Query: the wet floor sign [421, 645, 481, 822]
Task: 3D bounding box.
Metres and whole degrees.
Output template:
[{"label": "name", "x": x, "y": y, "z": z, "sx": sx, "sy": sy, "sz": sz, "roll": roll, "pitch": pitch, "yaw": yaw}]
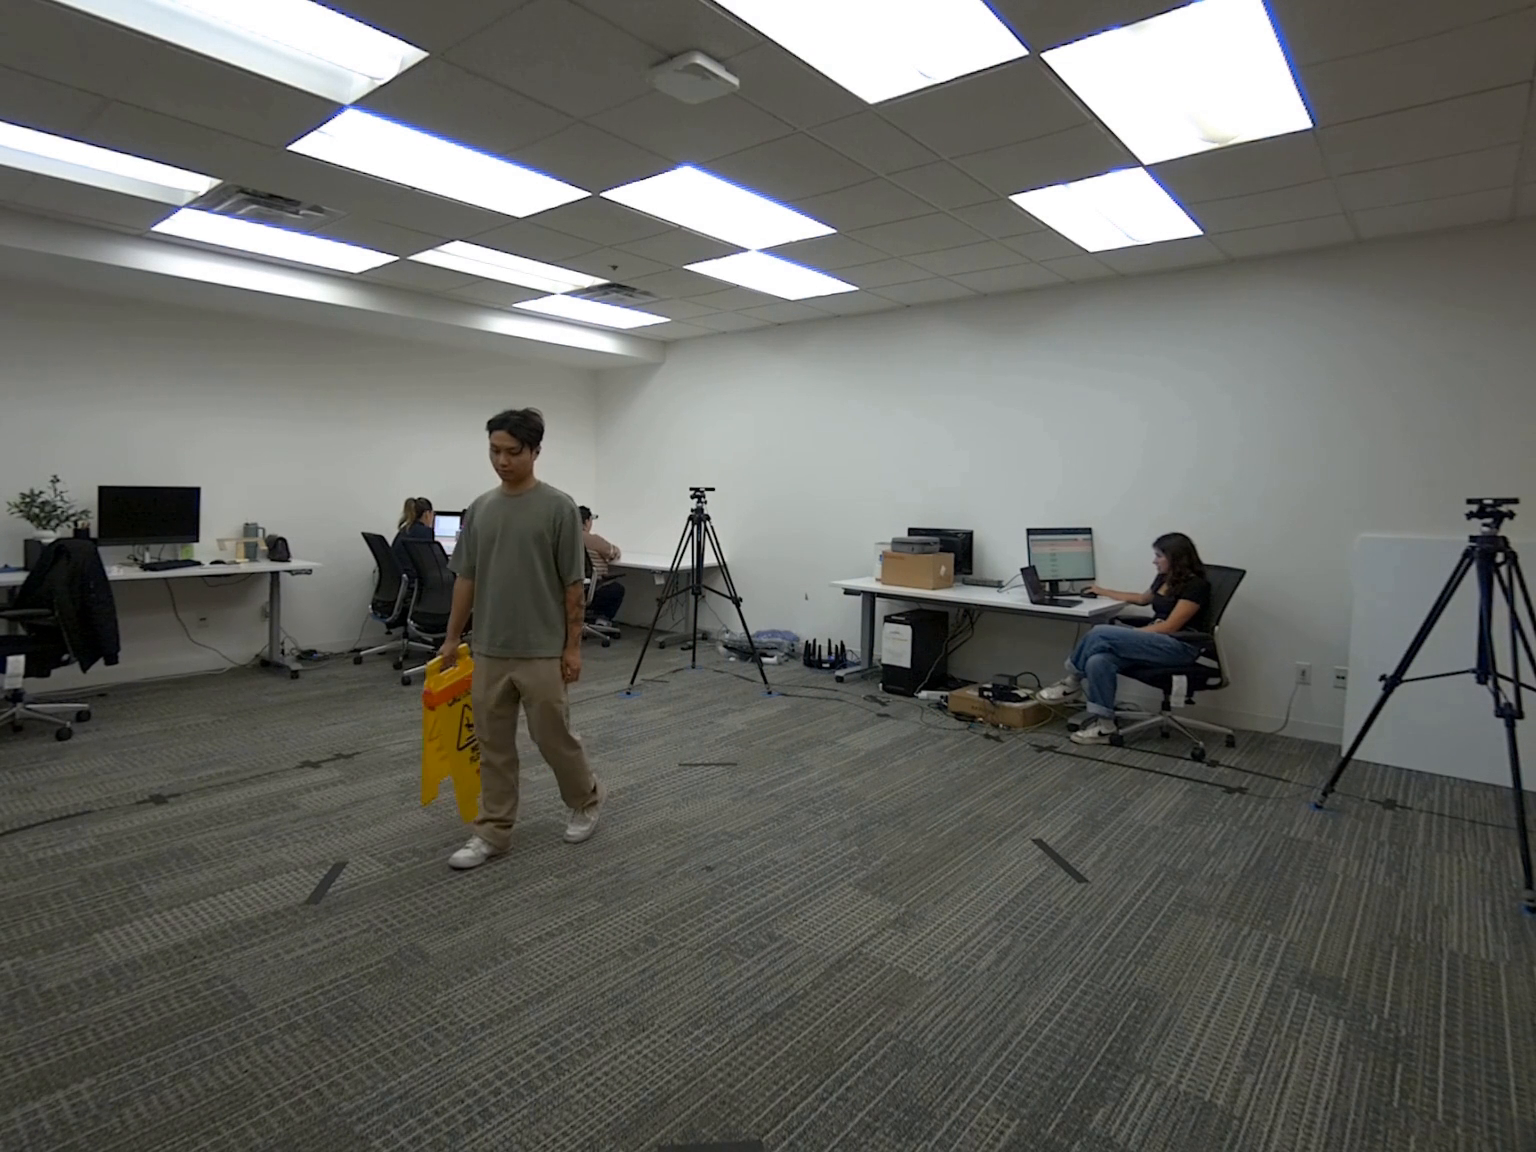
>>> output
[{"label": "wet floor sign", "x": -1.238, "y": 0.600, "z": 3.360, "sx": 0.298, "sy": 0.634, "sz": 0.279, "roll": 8, "pitch": 22, "yaw": 28}]
